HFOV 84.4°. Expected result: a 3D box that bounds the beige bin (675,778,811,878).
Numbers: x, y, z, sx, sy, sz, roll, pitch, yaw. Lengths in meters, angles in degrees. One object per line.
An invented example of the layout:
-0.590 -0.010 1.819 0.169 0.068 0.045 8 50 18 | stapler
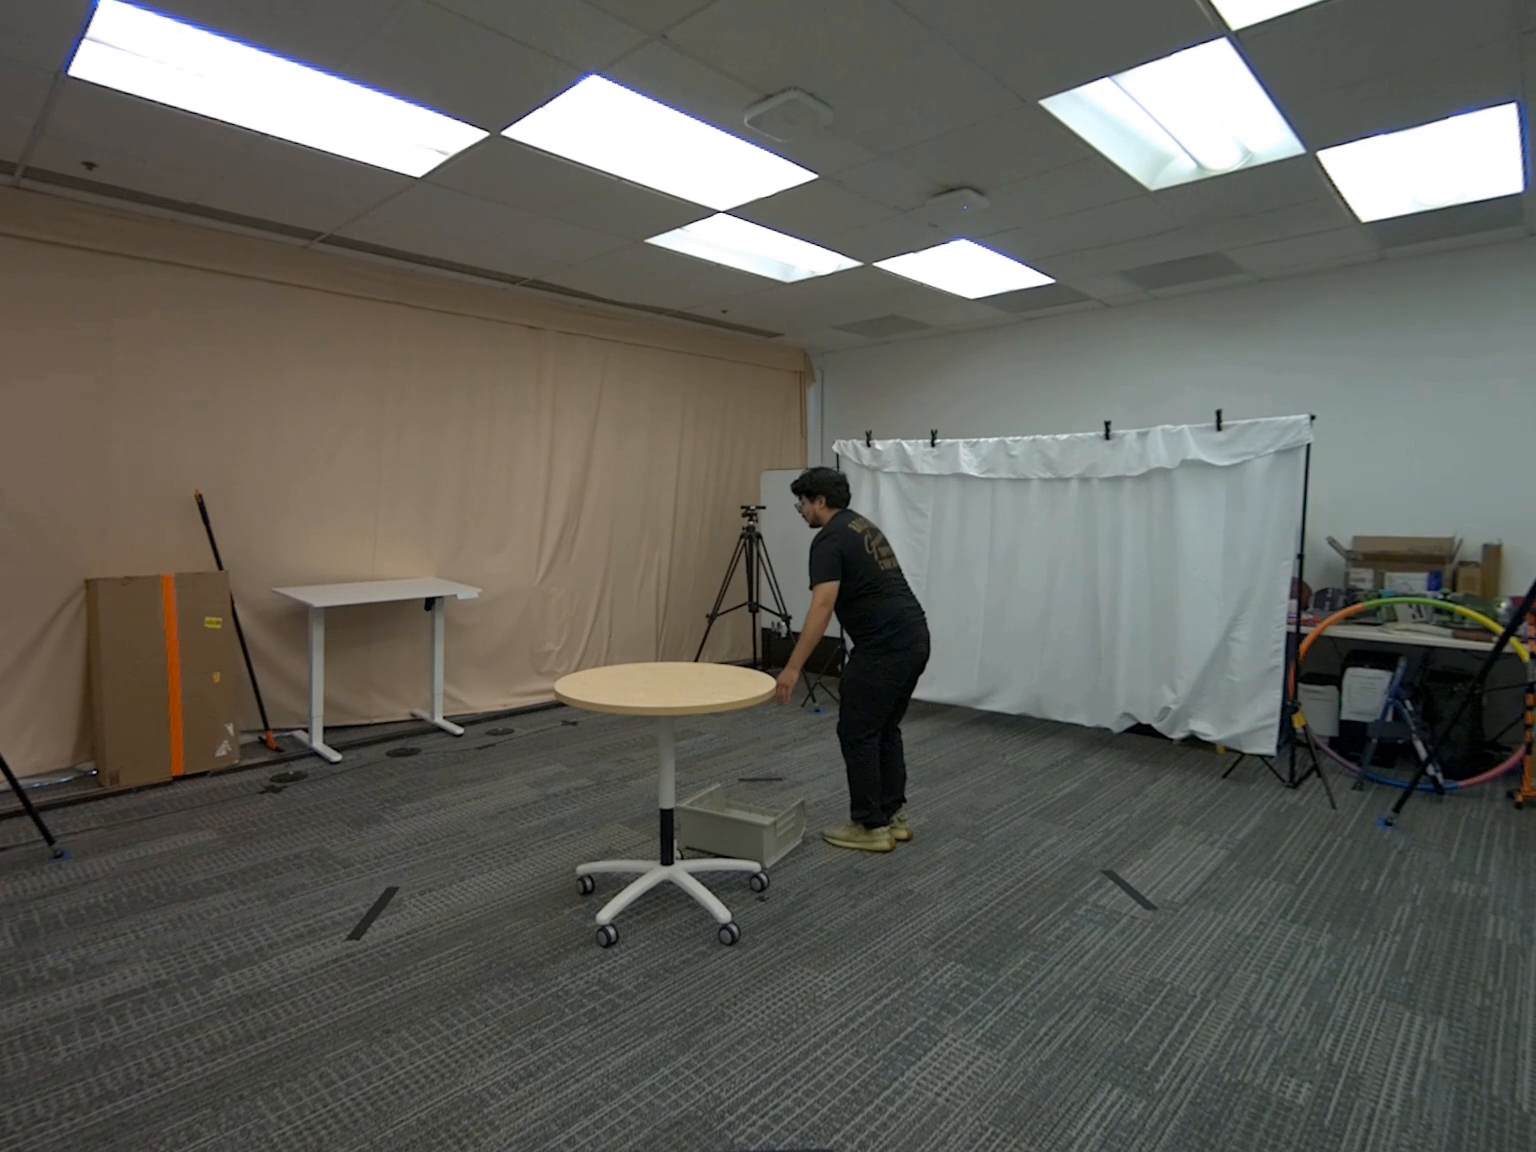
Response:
-0.101 1.014 3.469 0.434 0.188 0.368 4 7 29 | beige bin
